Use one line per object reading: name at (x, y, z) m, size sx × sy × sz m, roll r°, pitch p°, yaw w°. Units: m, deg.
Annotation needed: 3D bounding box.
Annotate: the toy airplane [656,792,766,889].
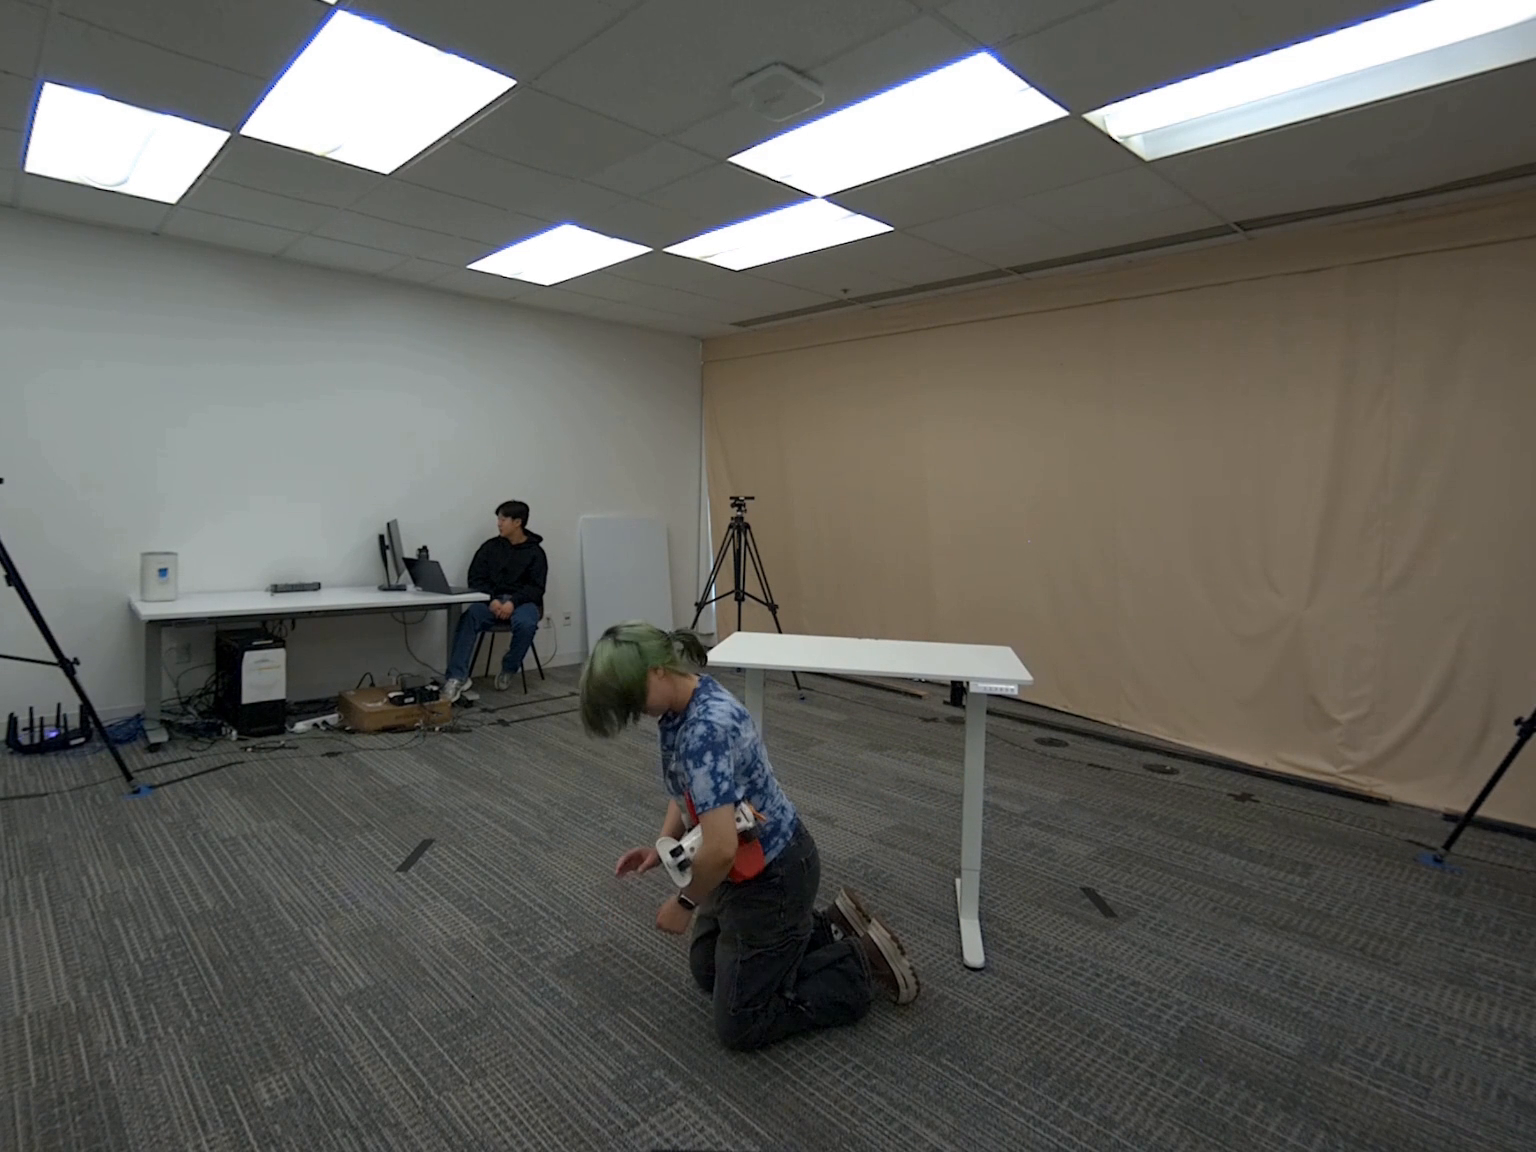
toy airplane at (-0.156, 0.619, 2.028) m, size 0.257 × 0.255 × 0.155 m, roll -2°, pitch -19°, yaw -10°
